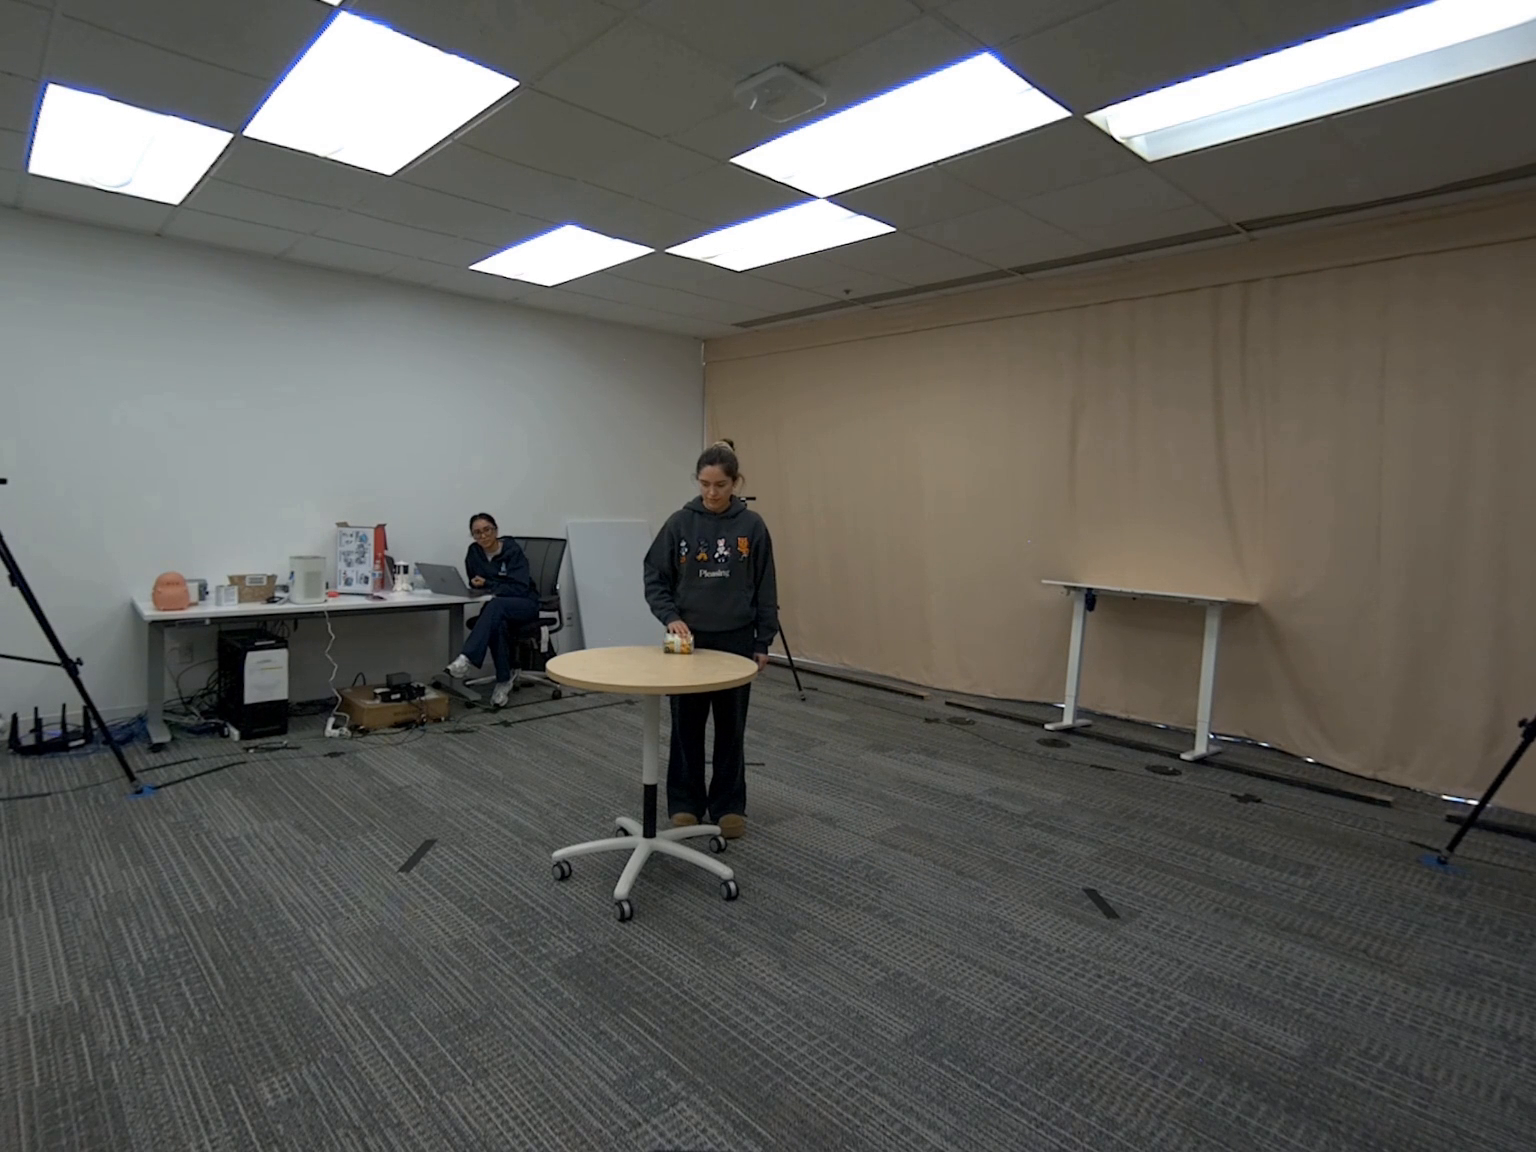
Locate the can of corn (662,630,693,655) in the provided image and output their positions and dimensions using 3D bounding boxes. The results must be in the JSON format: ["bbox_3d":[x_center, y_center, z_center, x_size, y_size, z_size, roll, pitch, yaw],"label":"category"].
[{"bbox_3d":[-0.364,0.268,3.307,0.111,0.074,0.074,4,5,1],"label":"can of corn"}]
